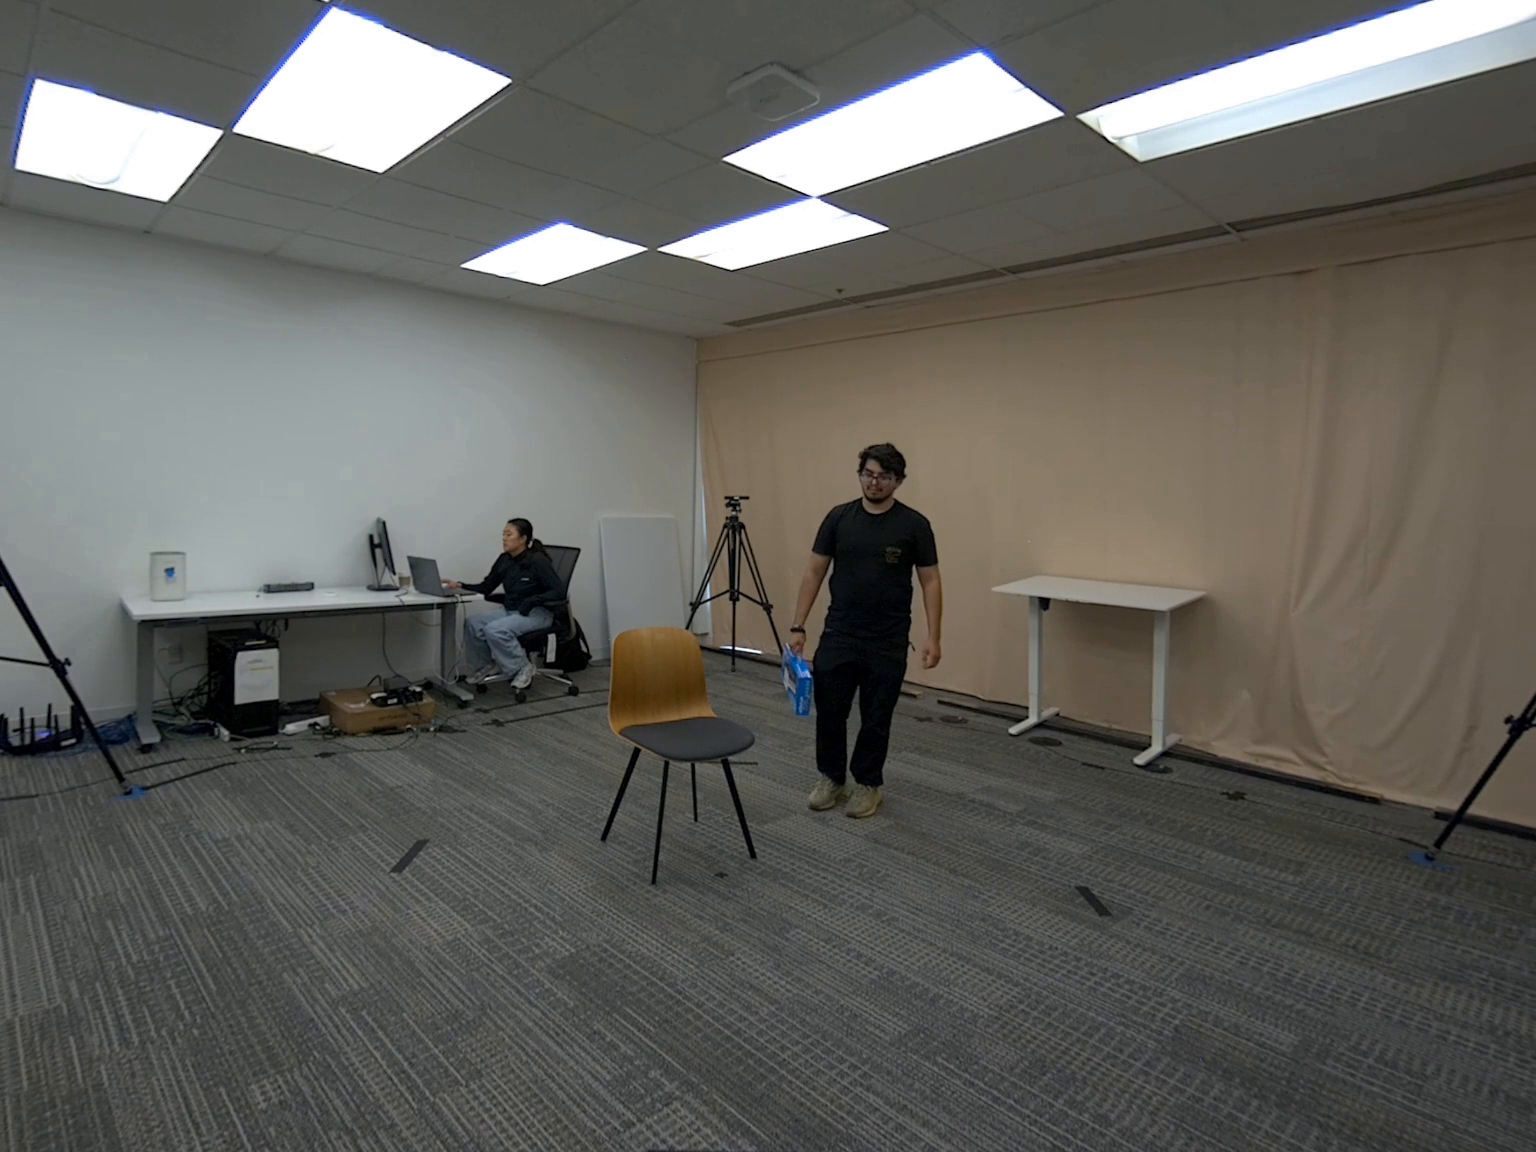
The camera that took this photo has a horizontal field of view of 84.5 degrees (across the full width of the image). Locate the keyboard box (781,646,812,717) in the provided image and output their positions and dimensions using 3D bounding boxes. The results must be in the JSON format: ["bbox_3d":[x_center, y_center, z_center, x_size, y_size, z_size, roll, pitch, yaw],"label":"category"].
[{"bbox_3d":[0.119,0.453,3.786,0.059,0.174,0.443,2,14,-9],"label":"keyboard box"}]
